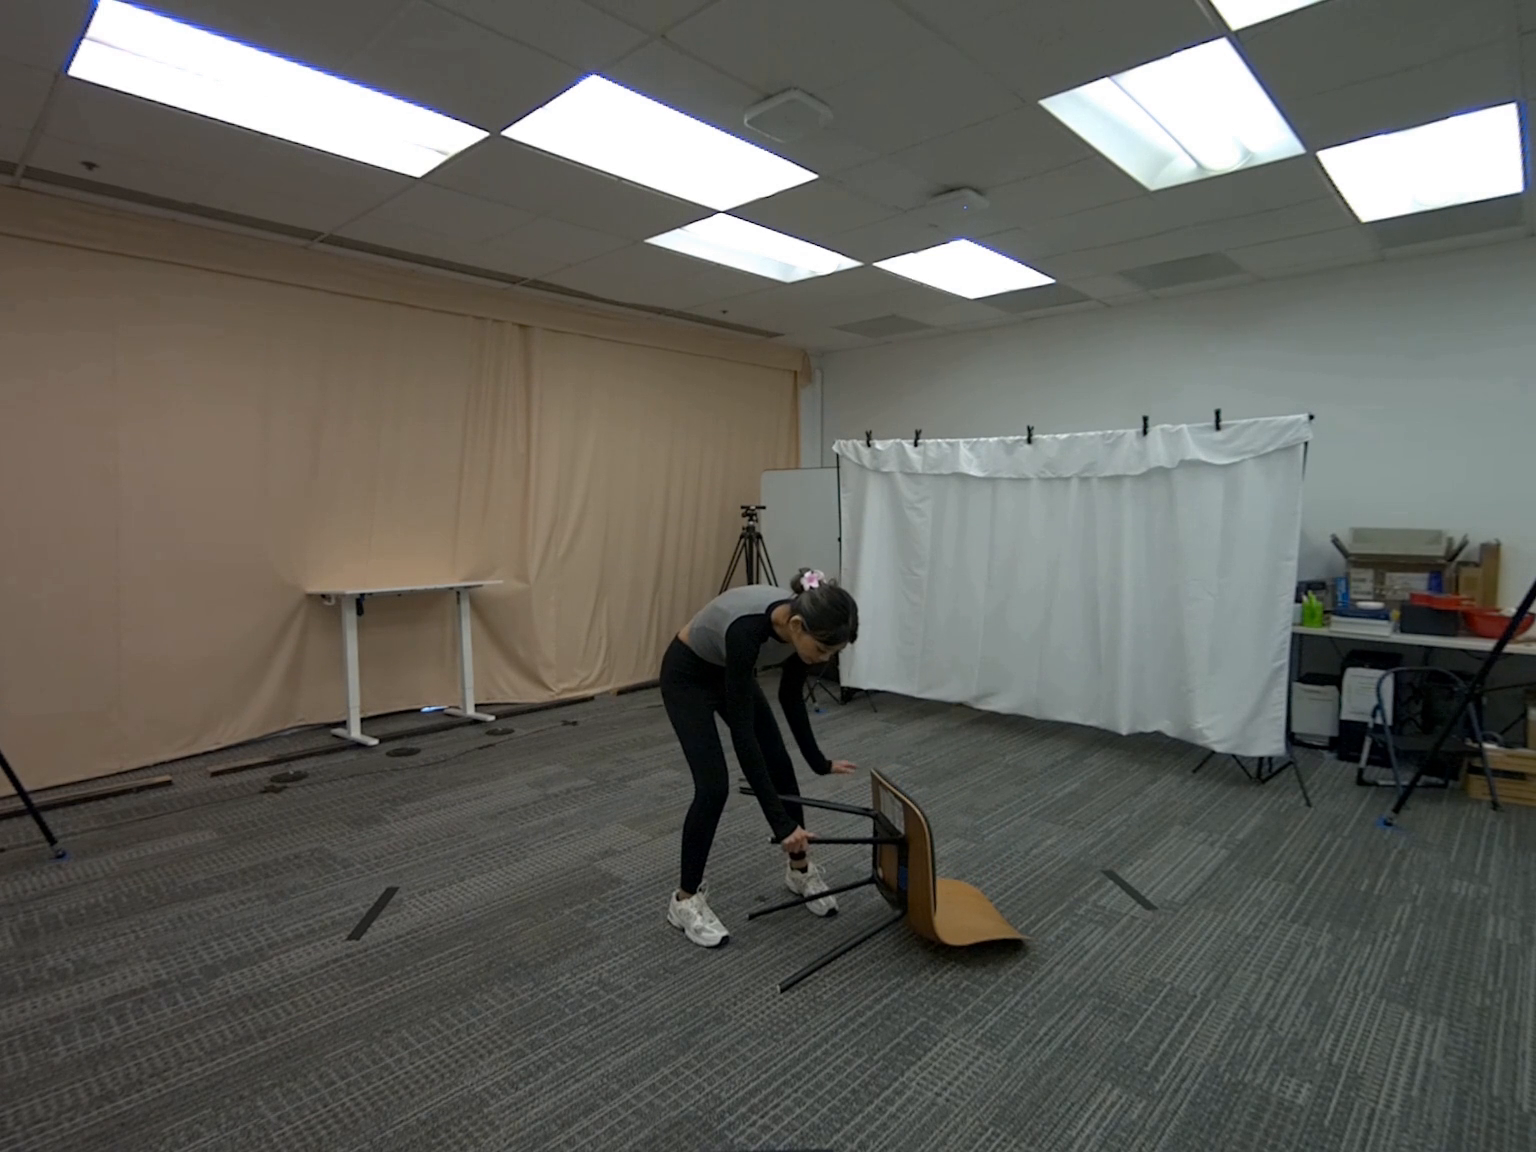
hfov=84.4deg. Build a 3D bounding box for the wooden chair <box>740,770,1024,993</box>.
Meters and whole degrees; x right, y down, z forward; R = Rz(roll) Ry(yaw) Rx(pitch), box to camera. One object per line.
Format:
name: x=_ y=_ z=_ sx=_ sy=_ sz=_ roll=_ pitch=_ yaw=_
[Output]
wooden chair: x=0.390 y=0.909 z=2.674 sx=0.868 sy=0.522 sz=0.484 roll=0 pitch=3 yaw=-10
